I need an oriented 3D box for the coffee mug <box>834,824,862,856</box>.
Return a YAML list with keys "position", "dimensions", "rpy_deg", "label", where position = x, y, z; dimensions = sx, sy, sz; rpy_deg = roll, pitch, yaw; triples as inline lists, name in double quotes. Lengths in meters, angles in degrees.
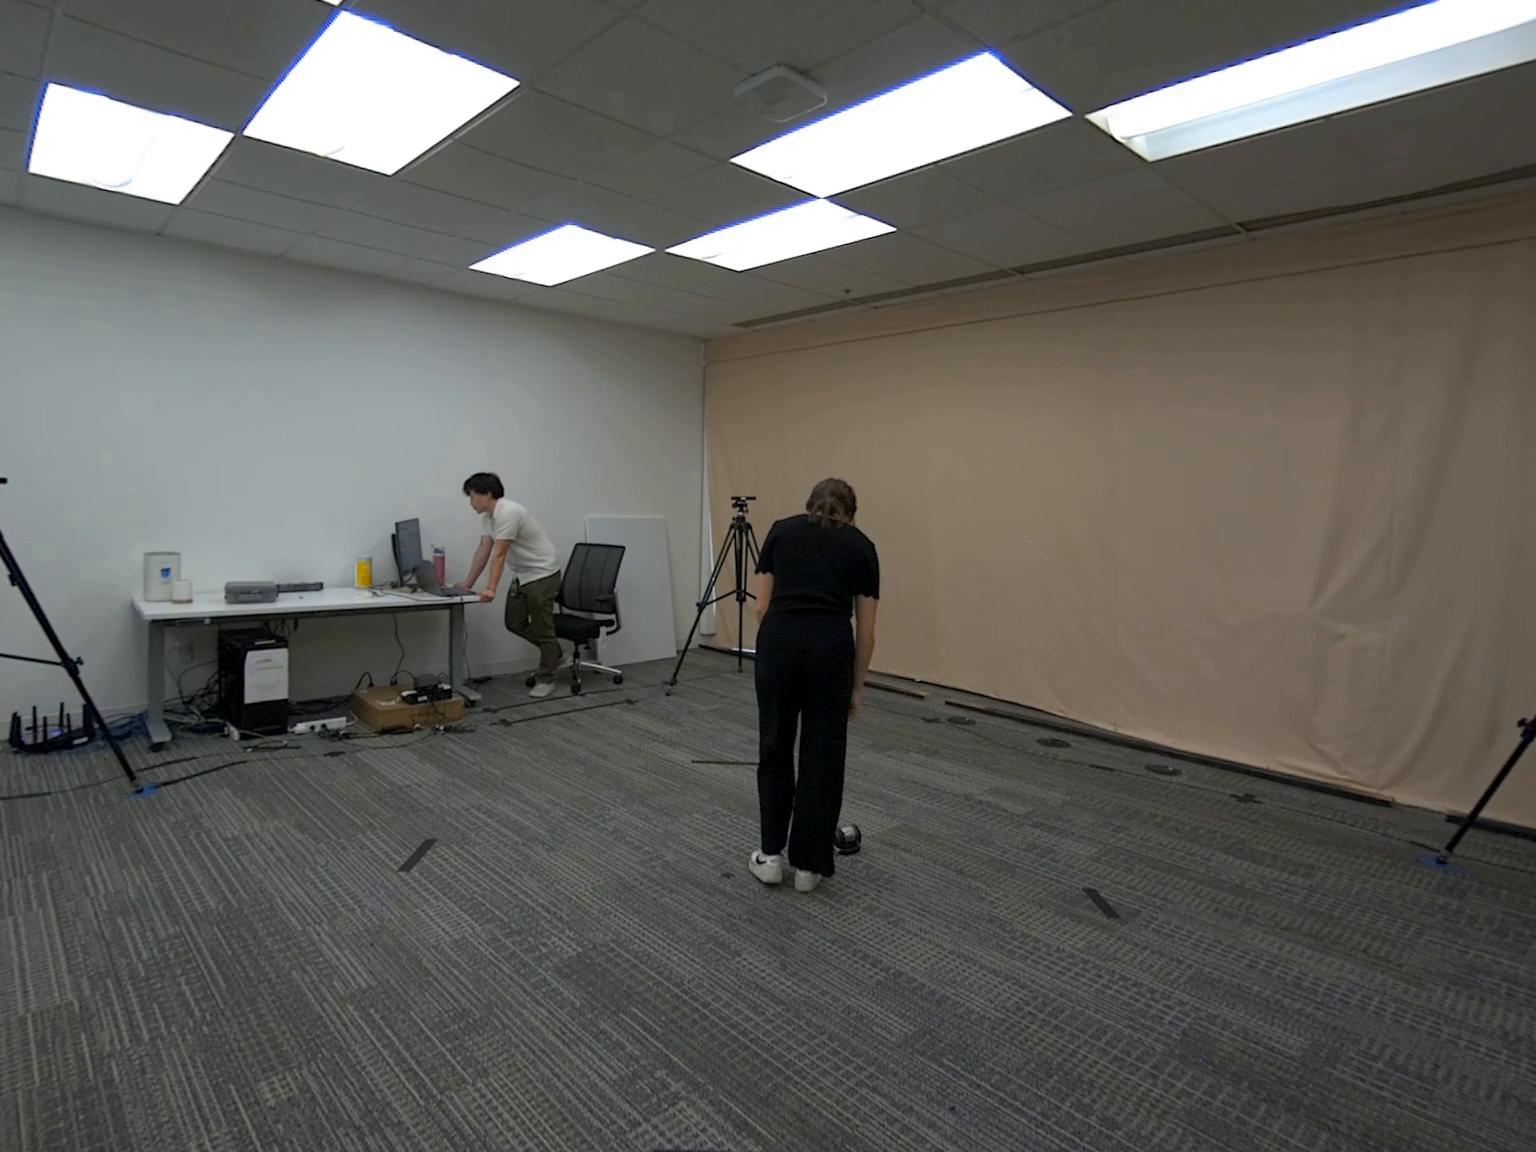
- position: [0.263, 1.045, 3.344]
  dimensions: [0.199, 0.088, 0.124]
  rpy_deg: [-3, -5, -28]
  label: "coffee mug"
